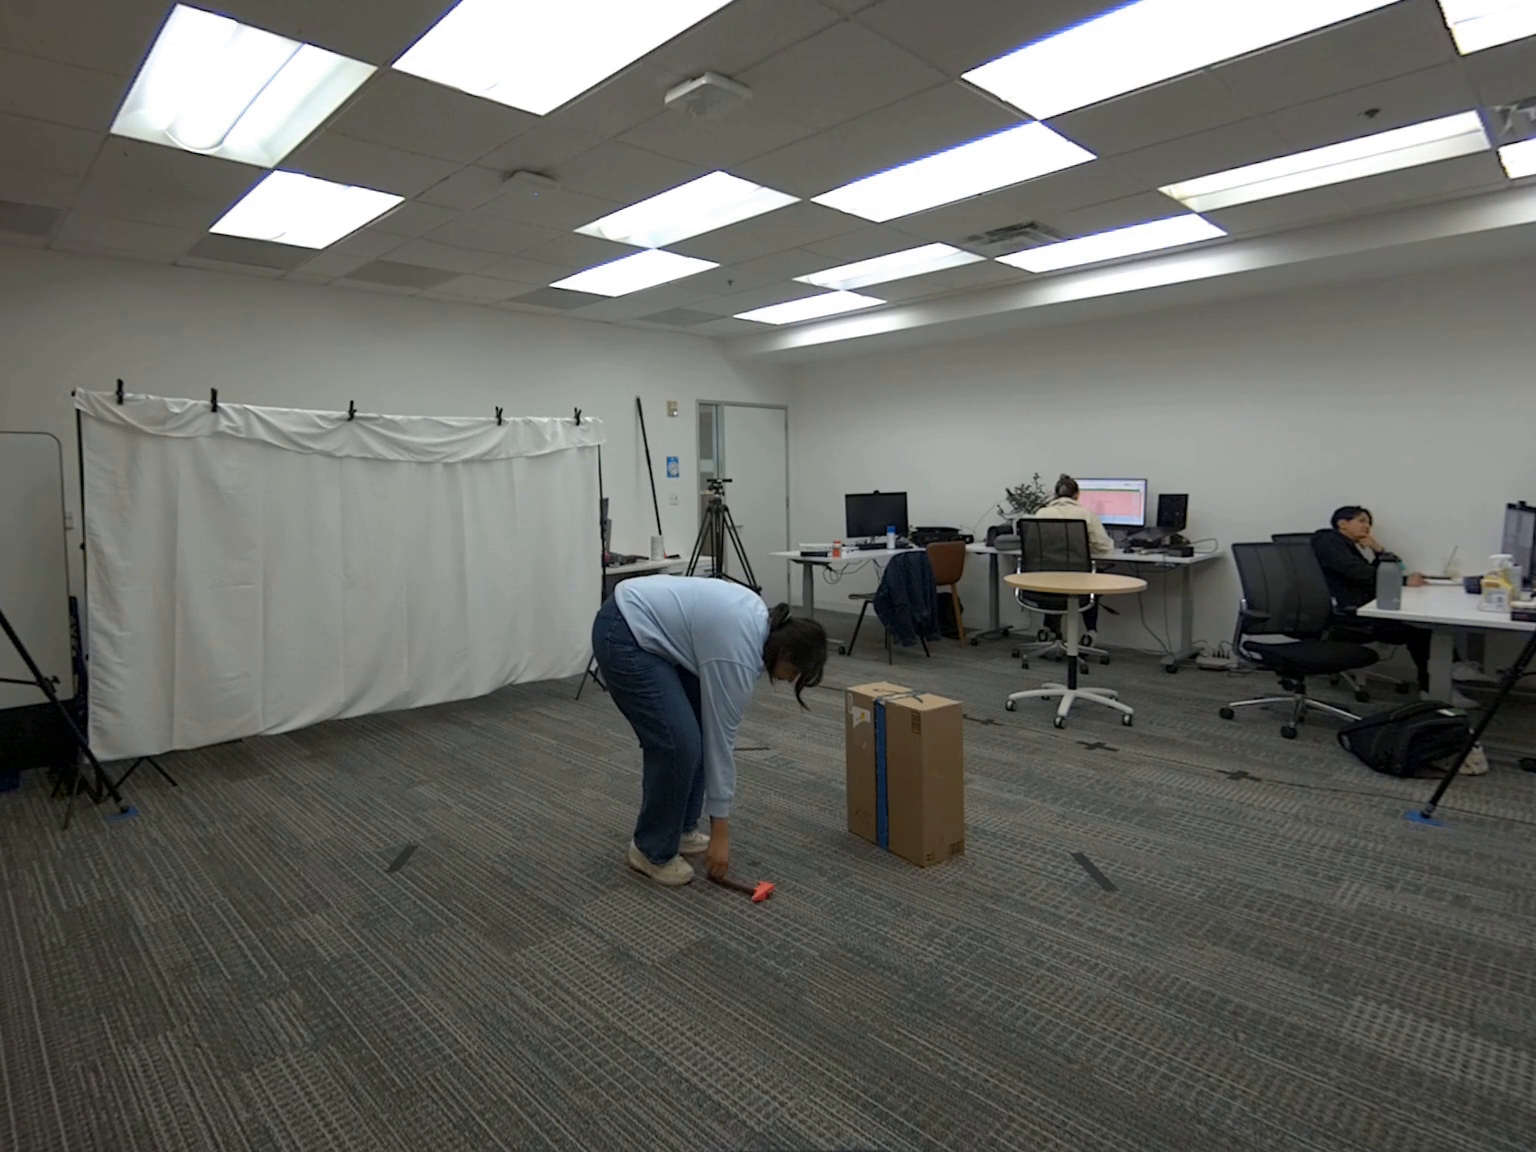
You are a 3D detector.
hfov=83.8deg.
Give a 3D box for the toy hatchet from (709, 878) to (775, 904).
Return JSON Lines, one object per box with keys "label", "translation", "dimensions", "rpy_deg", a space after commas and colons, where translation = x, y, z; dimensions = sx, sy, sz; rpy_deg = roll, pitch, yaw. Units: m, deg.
{"label": "toy hatchet", "translation": [-0.081, 1.048, 2.943], "dimensions": [0.128, 0.029, 0.278], "rpy_deg": [-6, 6, -38]}
